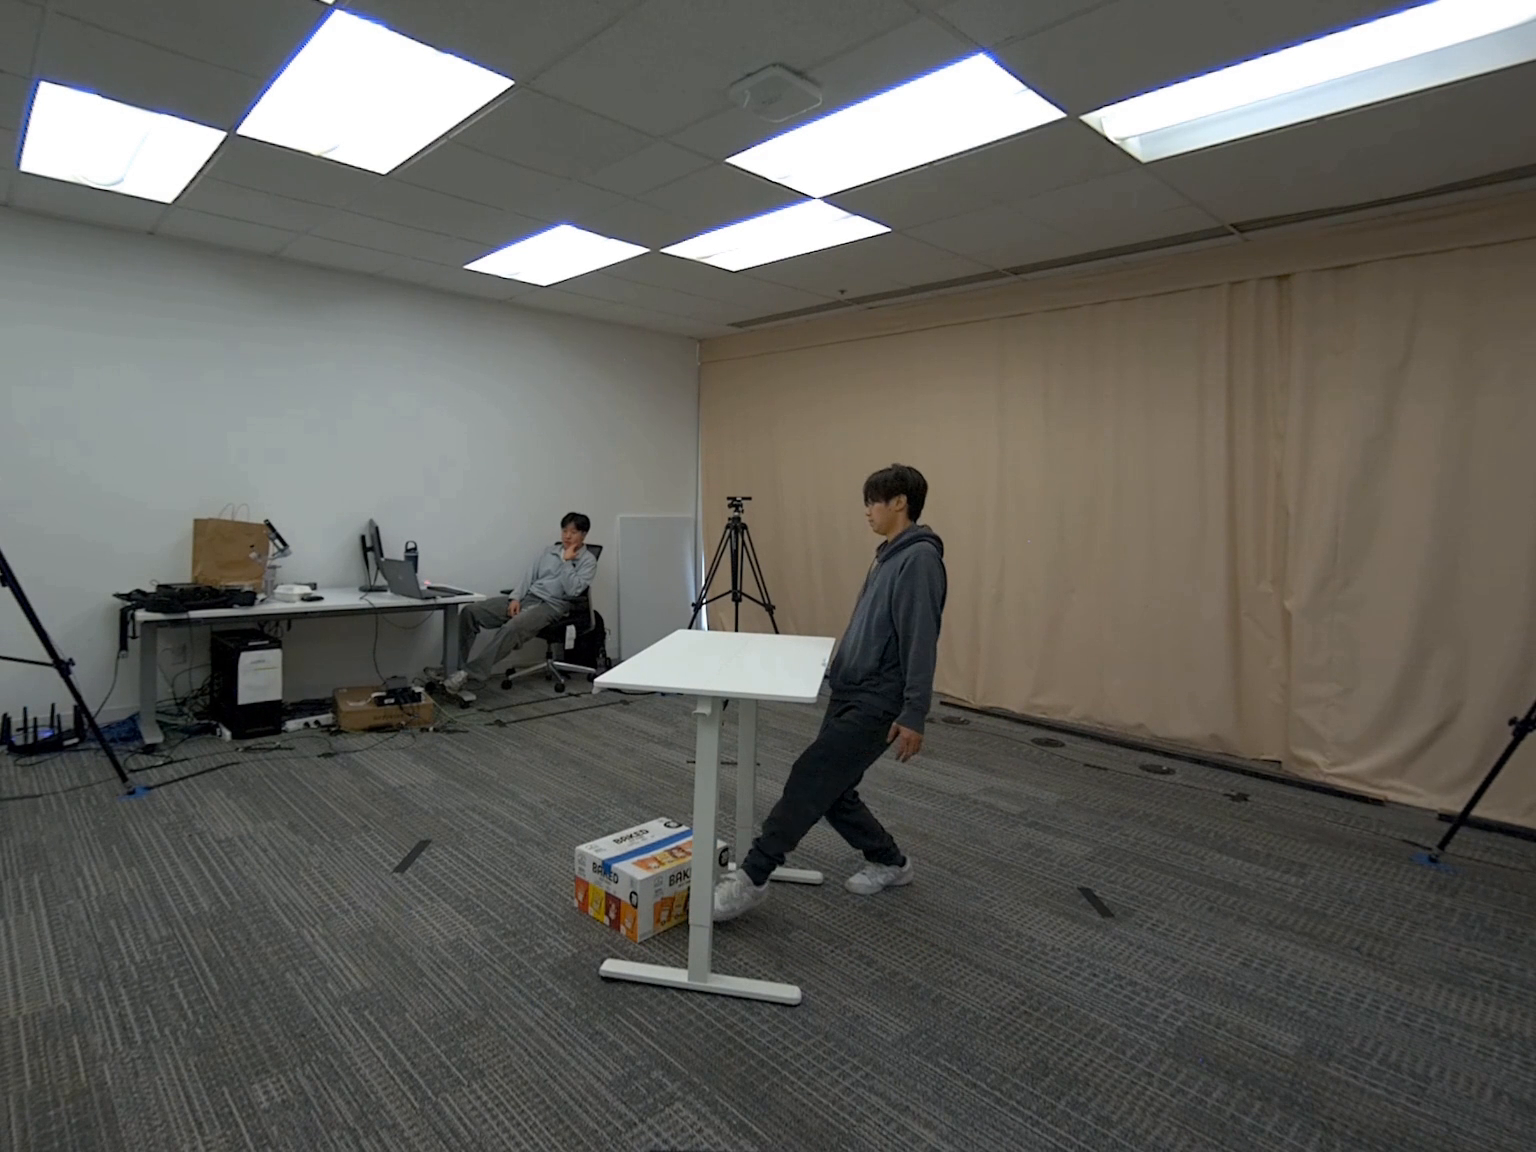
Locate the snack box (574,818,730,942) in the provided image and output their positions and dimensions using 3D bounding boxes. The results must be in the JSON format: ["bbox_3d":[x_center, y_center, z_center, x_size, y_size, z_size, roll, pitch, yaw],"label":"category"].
[{"bbox_3d":[-0.399,1.019,2.869,0.349,0.205,0.396,5,6,42],"label":"snack box"}]
